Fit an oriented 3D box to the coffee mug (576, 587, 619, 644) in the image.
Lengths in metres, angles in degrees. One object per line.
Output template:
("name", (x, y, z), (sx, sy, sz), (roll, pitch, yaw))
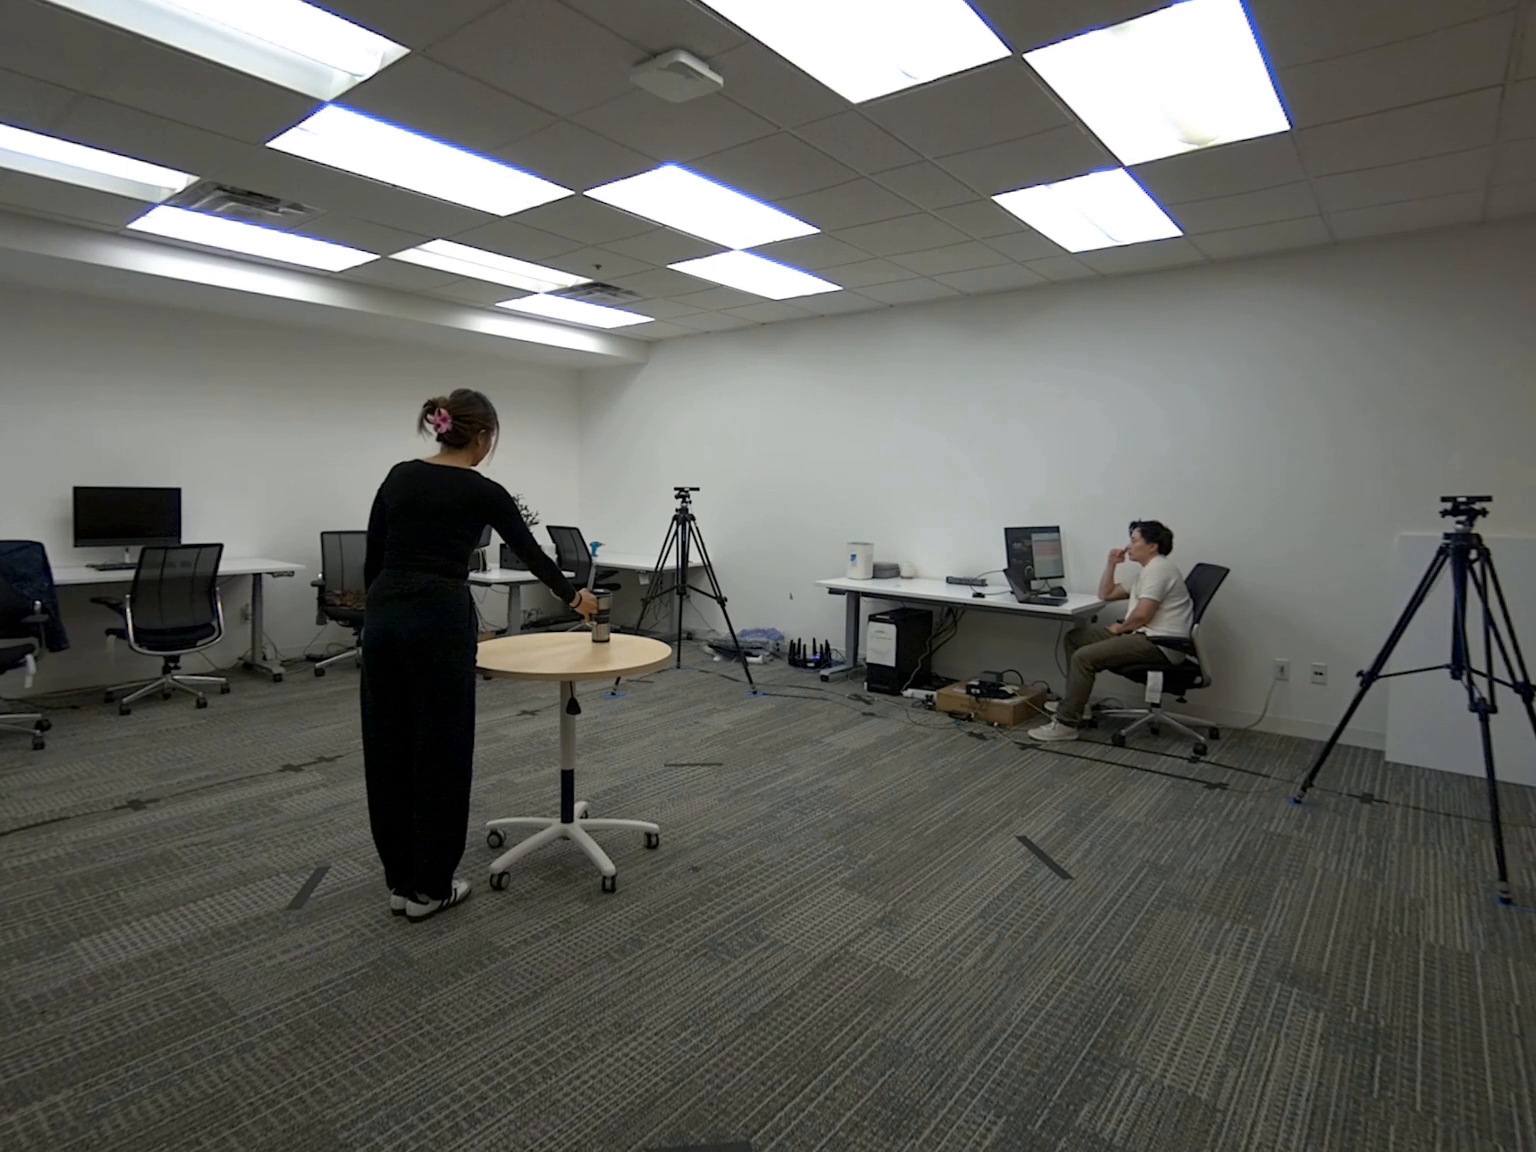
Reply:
("coffee mug", (-0.672, 0.152, 3.301), (0.118, 0.202, 0.091), (2, 5, -37))
